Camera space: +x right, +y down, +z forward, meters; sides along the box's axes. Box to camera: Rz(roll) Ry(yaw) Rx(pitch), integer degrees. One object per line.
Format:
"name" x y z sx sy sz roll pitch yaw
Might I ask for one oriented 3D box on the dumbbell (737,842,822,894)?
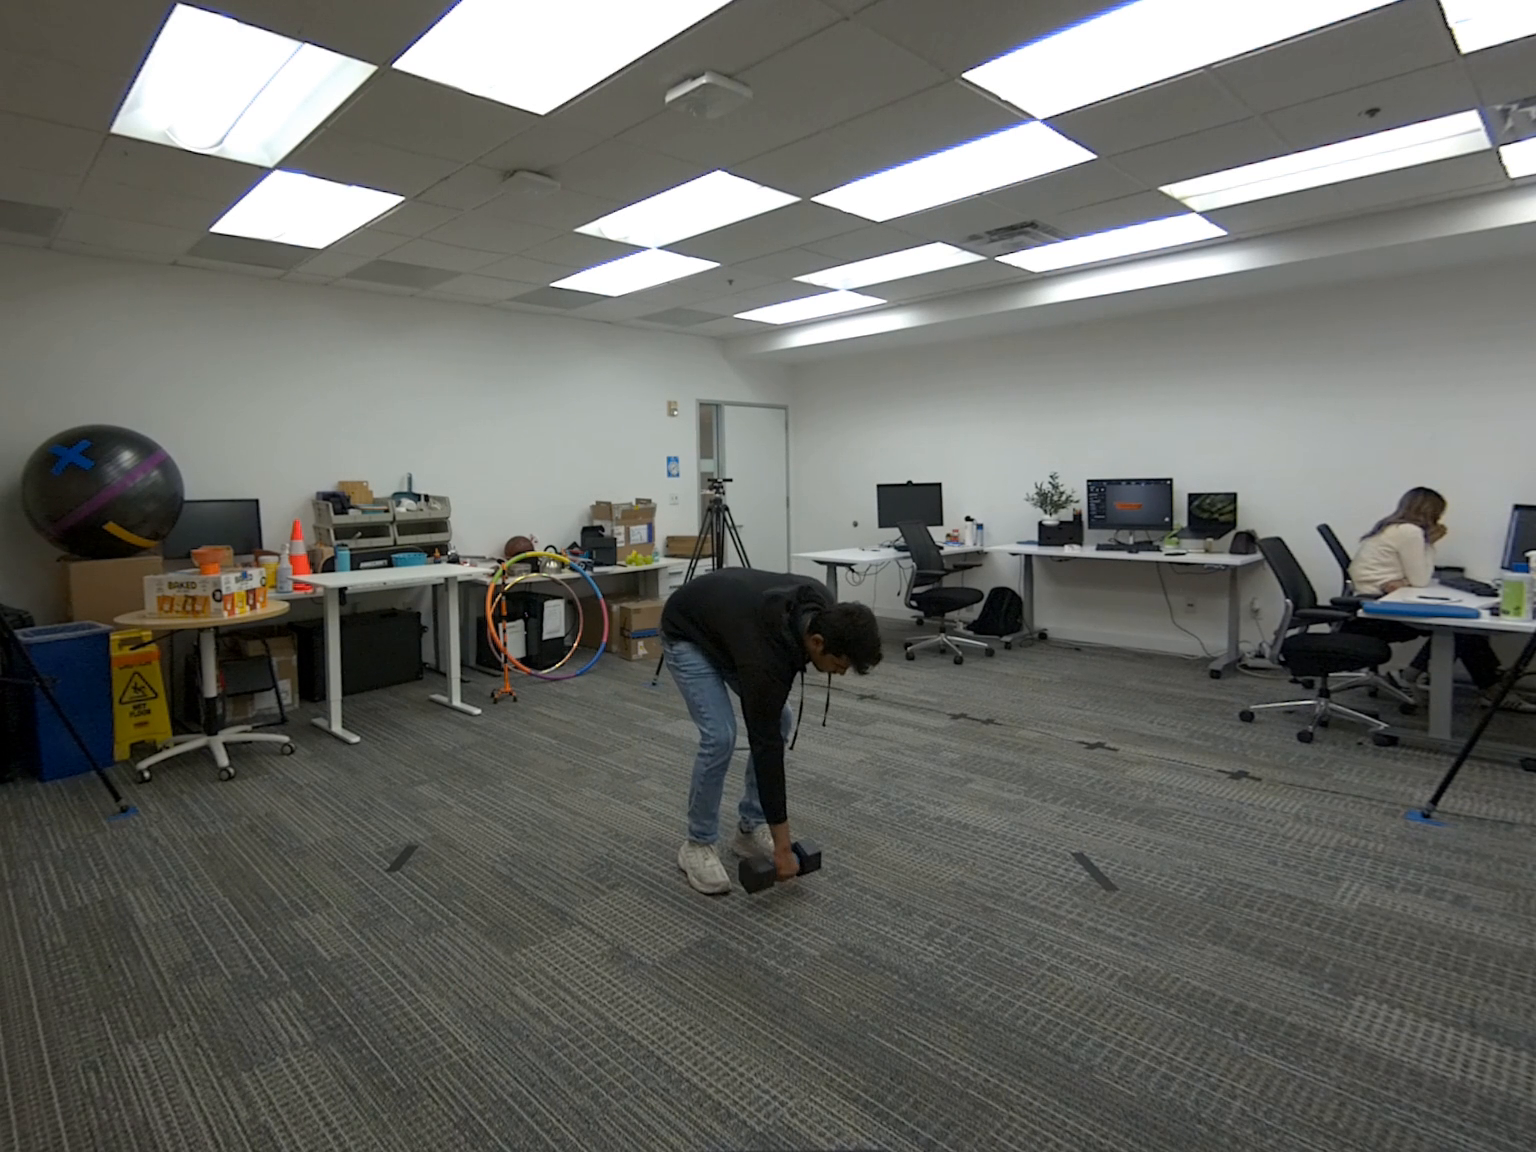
"dumbbell" 0.046 0.946 2.835 0.286 0.122 0.112 -4 5 -37
